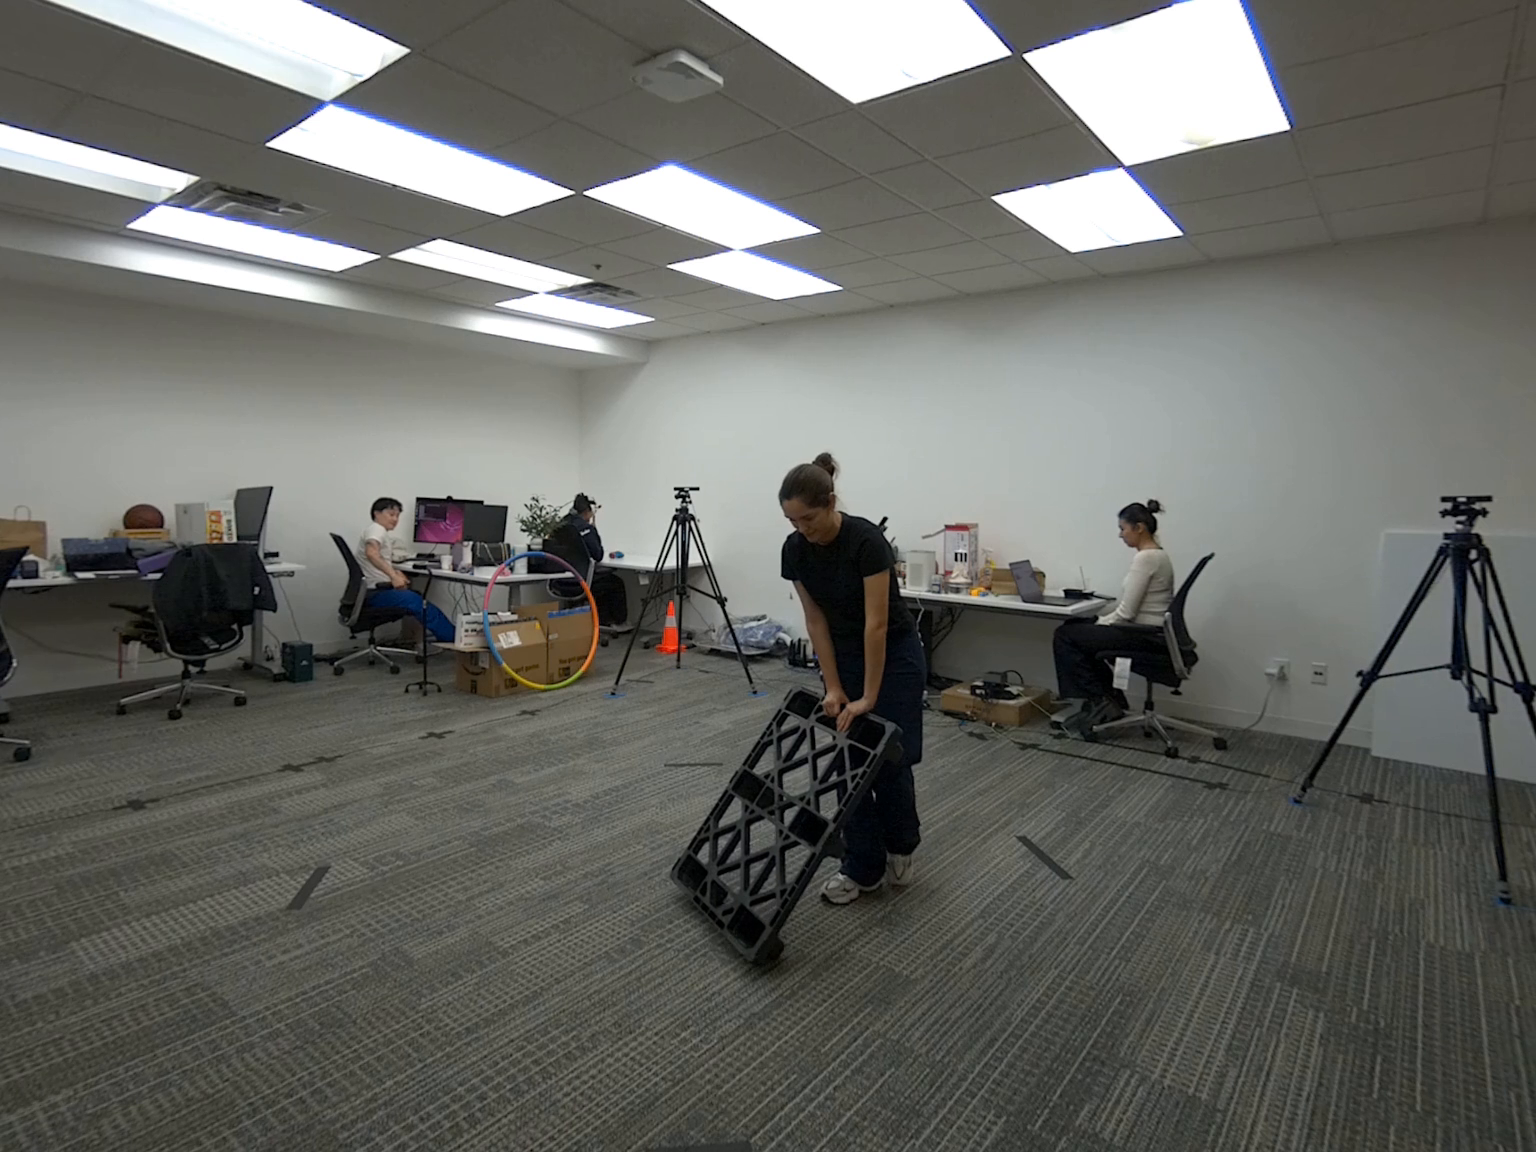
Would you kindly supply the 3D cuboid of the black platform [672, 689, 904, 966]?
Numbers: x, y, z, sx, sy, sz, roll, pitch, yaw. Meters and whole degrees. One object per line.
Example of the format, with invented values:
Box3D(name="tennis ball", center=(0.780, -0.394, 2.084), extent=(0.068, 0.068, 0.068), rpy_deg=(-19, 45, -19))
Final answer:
Box3D(name="black platform", center=(0.077, 0.777, 2.783), extent=(0.139, 0.807, 0.623), rpy_deg=(40, -14, -25))
